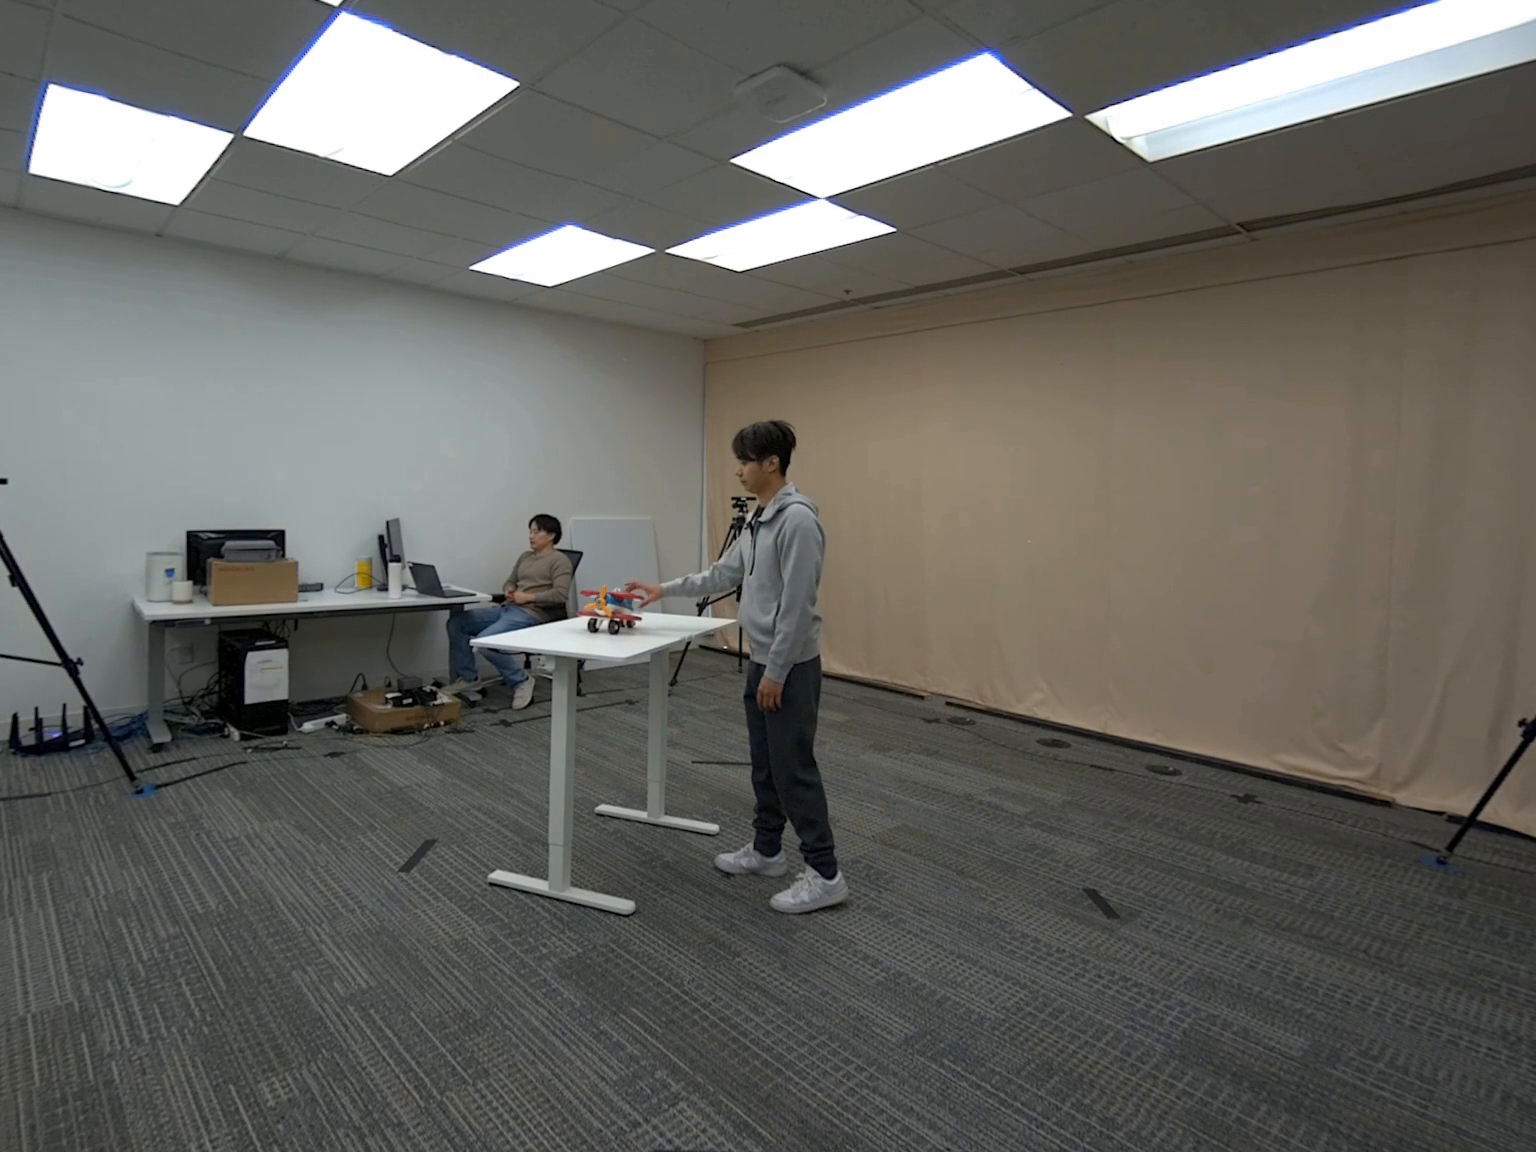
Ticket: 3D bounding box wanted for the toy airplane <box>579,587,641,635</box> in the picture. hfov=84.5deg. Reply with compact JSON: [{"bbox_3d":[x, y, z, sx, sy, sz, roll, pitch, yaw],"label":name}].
[{"bbox_3d":[-0.601,0.130,3.196,0.249,0.156,0.262,1,5,-9],"label":"toy airplane"}]
